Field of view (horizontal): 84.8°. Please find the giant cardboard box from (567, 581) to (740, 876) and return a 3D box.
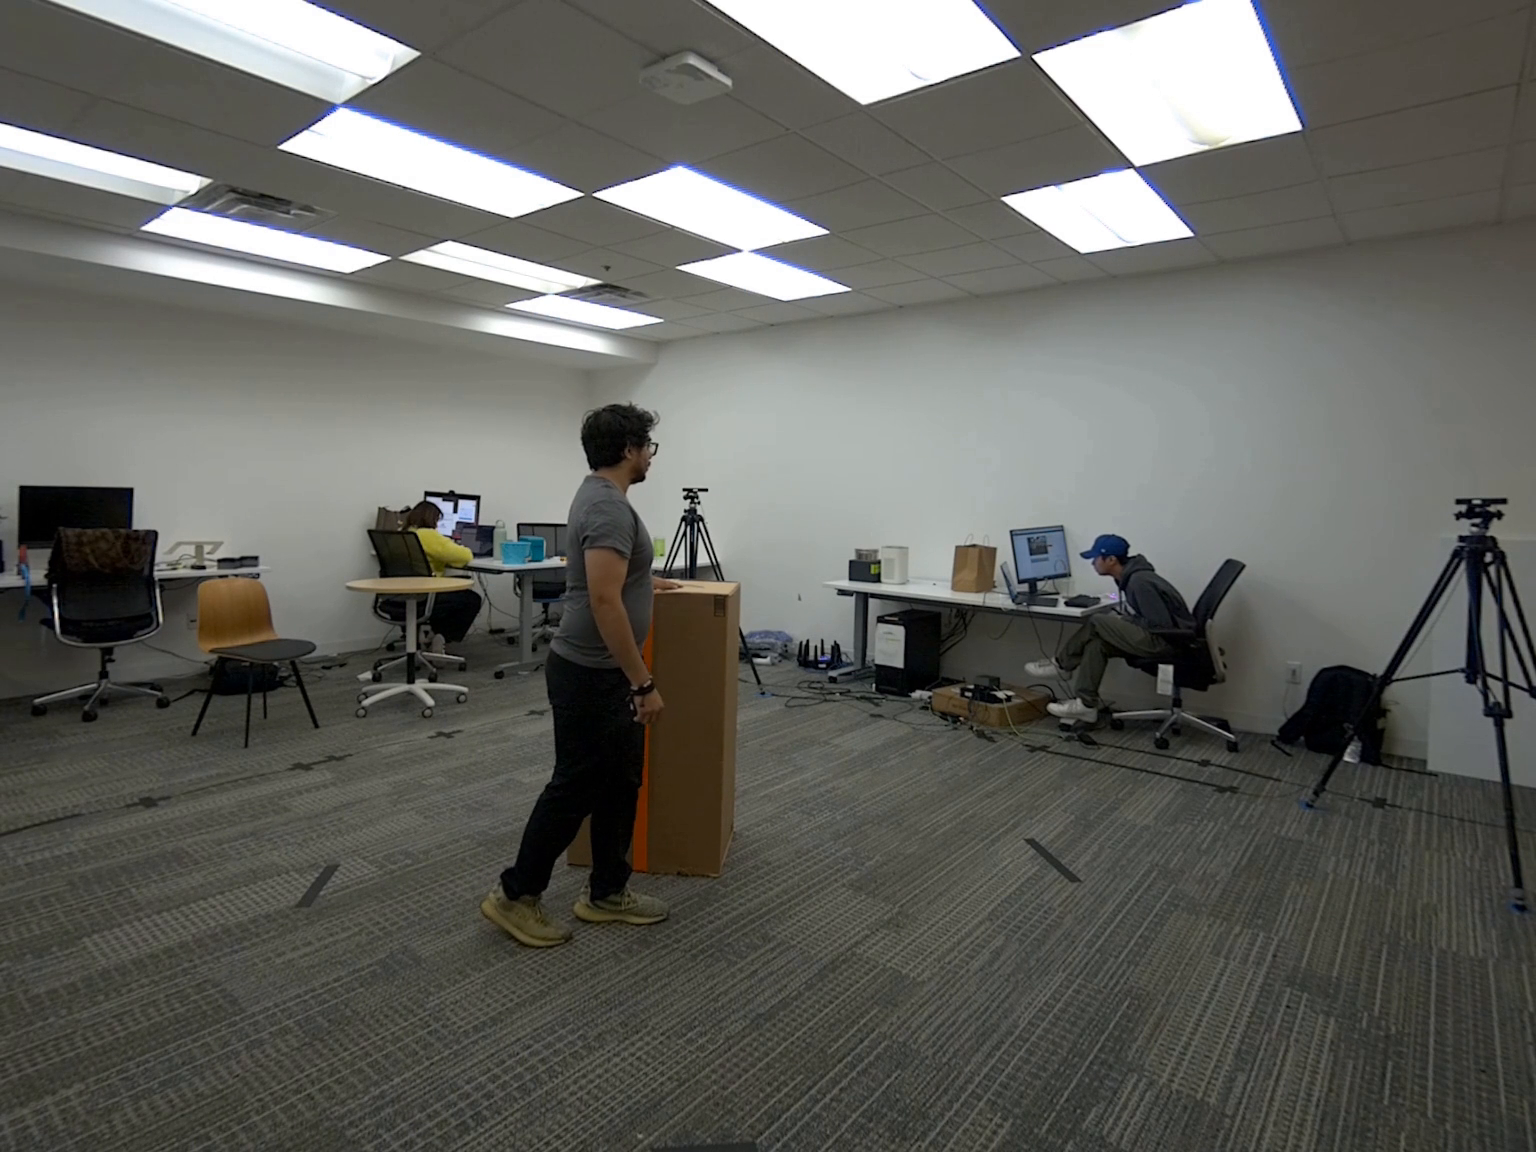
[{"bbox_3d":[-0.432,0.538,3.261,0.583,1.023,0.424,2,3,7],"label":"giant cardboard box"}]
